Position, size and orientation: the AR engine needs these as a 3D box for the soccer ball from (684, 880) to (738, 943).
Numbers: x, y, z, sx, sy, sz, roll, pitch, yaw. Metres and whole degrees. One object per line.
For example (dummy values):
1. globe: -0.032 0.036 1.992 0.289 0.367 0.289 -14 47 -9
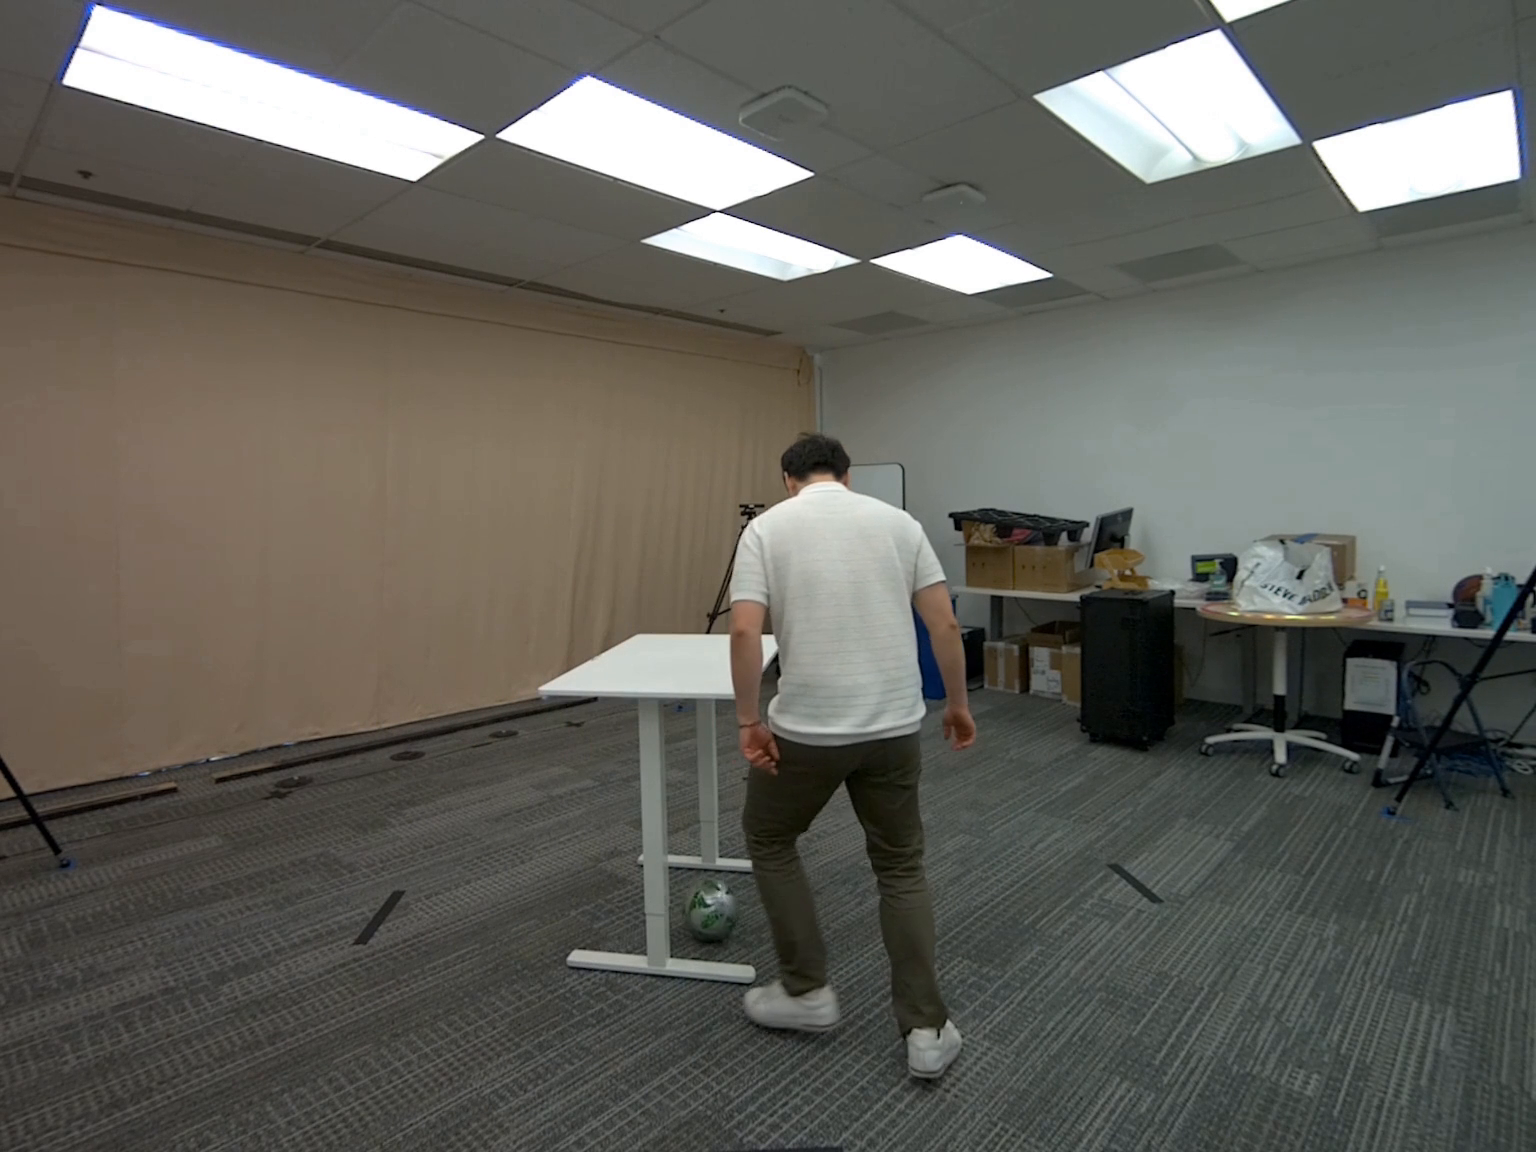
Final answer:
1. soccer ball: -0.181 1.074 2.705 0.187 0.187 0.188 -1 4 -2
